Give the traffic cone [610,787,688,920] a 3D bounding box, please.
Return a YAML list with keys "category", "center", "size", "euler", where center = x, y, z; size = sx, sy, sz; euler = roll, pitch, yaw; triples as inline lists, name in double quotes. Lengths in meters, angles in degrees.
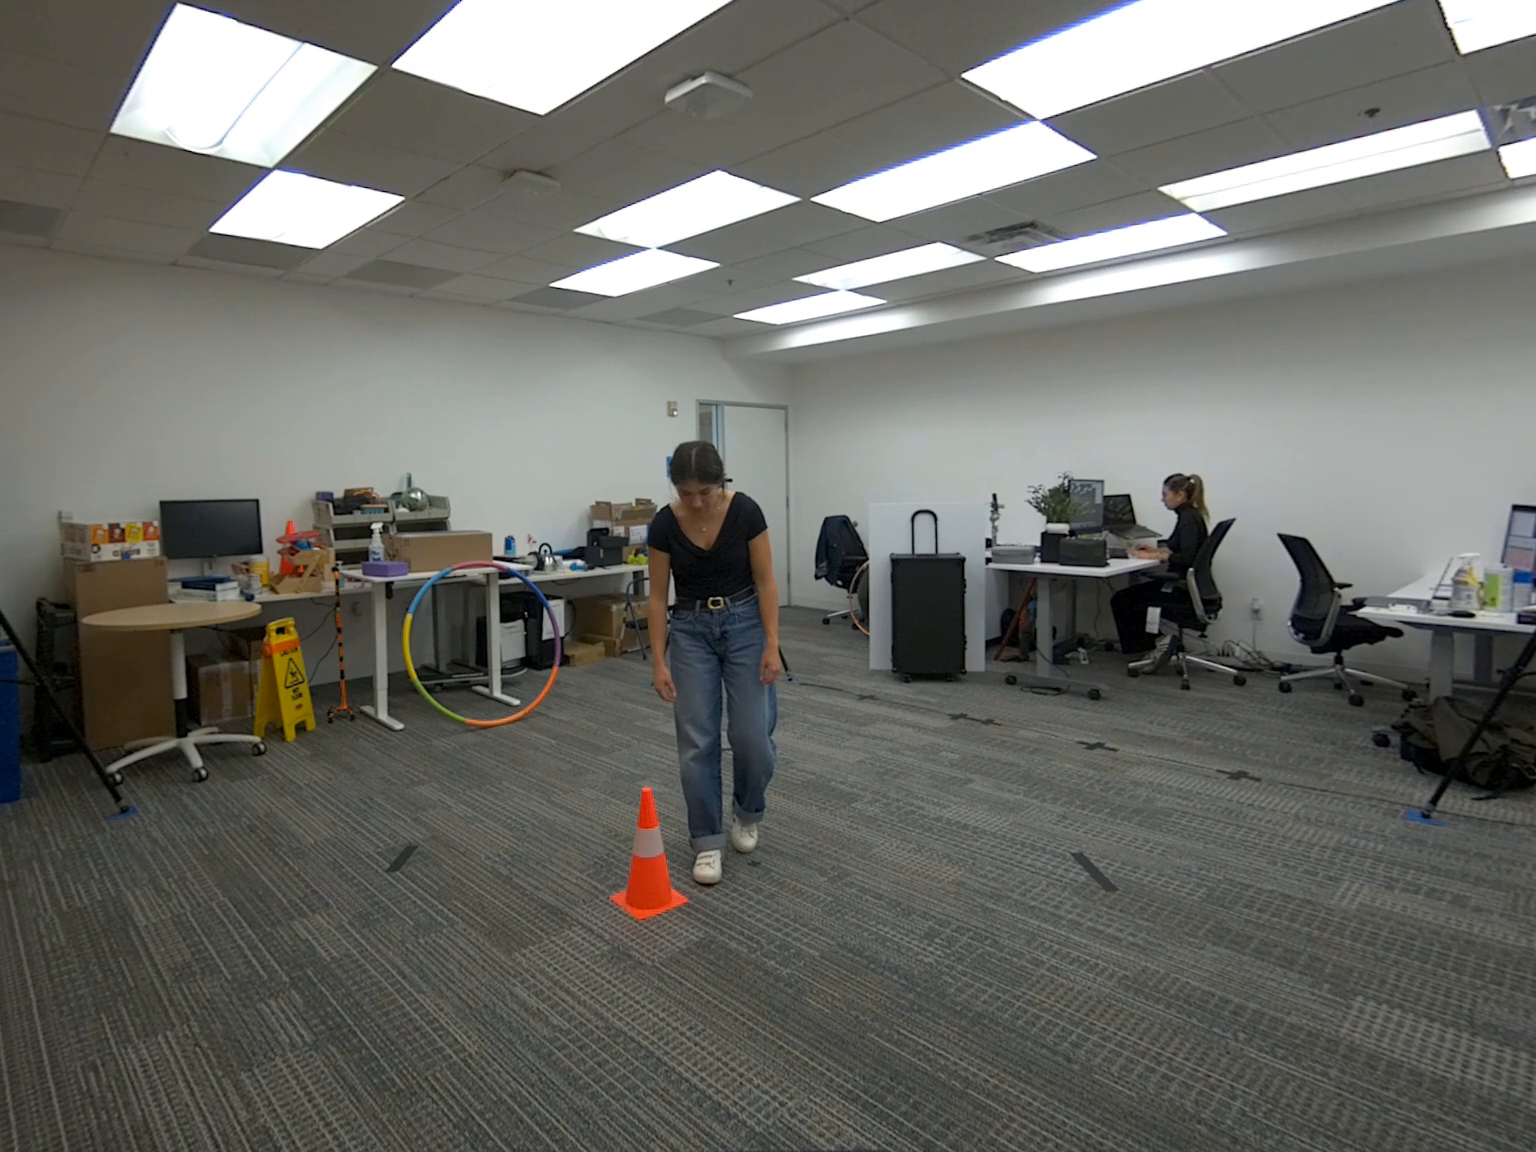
- category: "traffic cone"
  center: [-0.396, 0.896, 2.839]
  size: [0.200, 0.382, 0.210]
  euler: [-7, 8, -40]
